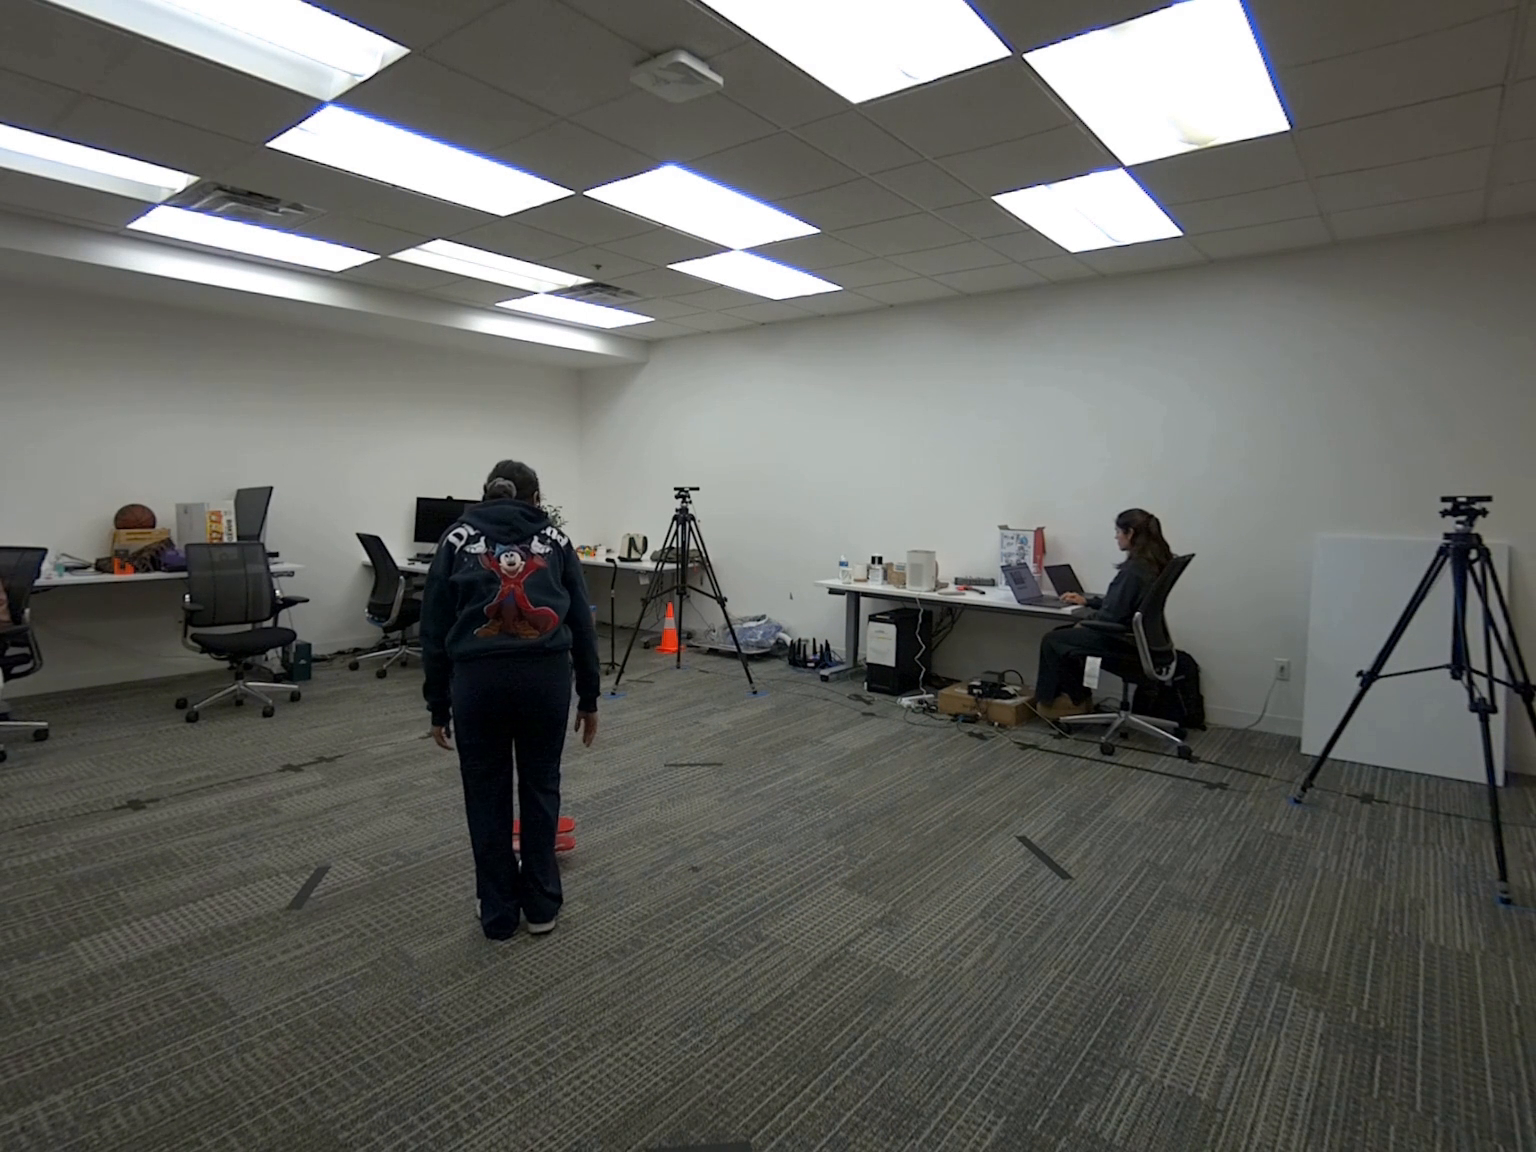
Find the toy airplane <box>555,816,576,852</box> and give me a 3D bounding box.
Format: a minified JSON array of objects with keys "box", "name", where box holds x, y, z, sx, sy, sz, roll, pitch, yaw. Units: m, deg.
[{"box":[-0.825,0.973,3.106,0.244,0.156,0.267,-2,5,-35],"name":"toy airplane"}]
